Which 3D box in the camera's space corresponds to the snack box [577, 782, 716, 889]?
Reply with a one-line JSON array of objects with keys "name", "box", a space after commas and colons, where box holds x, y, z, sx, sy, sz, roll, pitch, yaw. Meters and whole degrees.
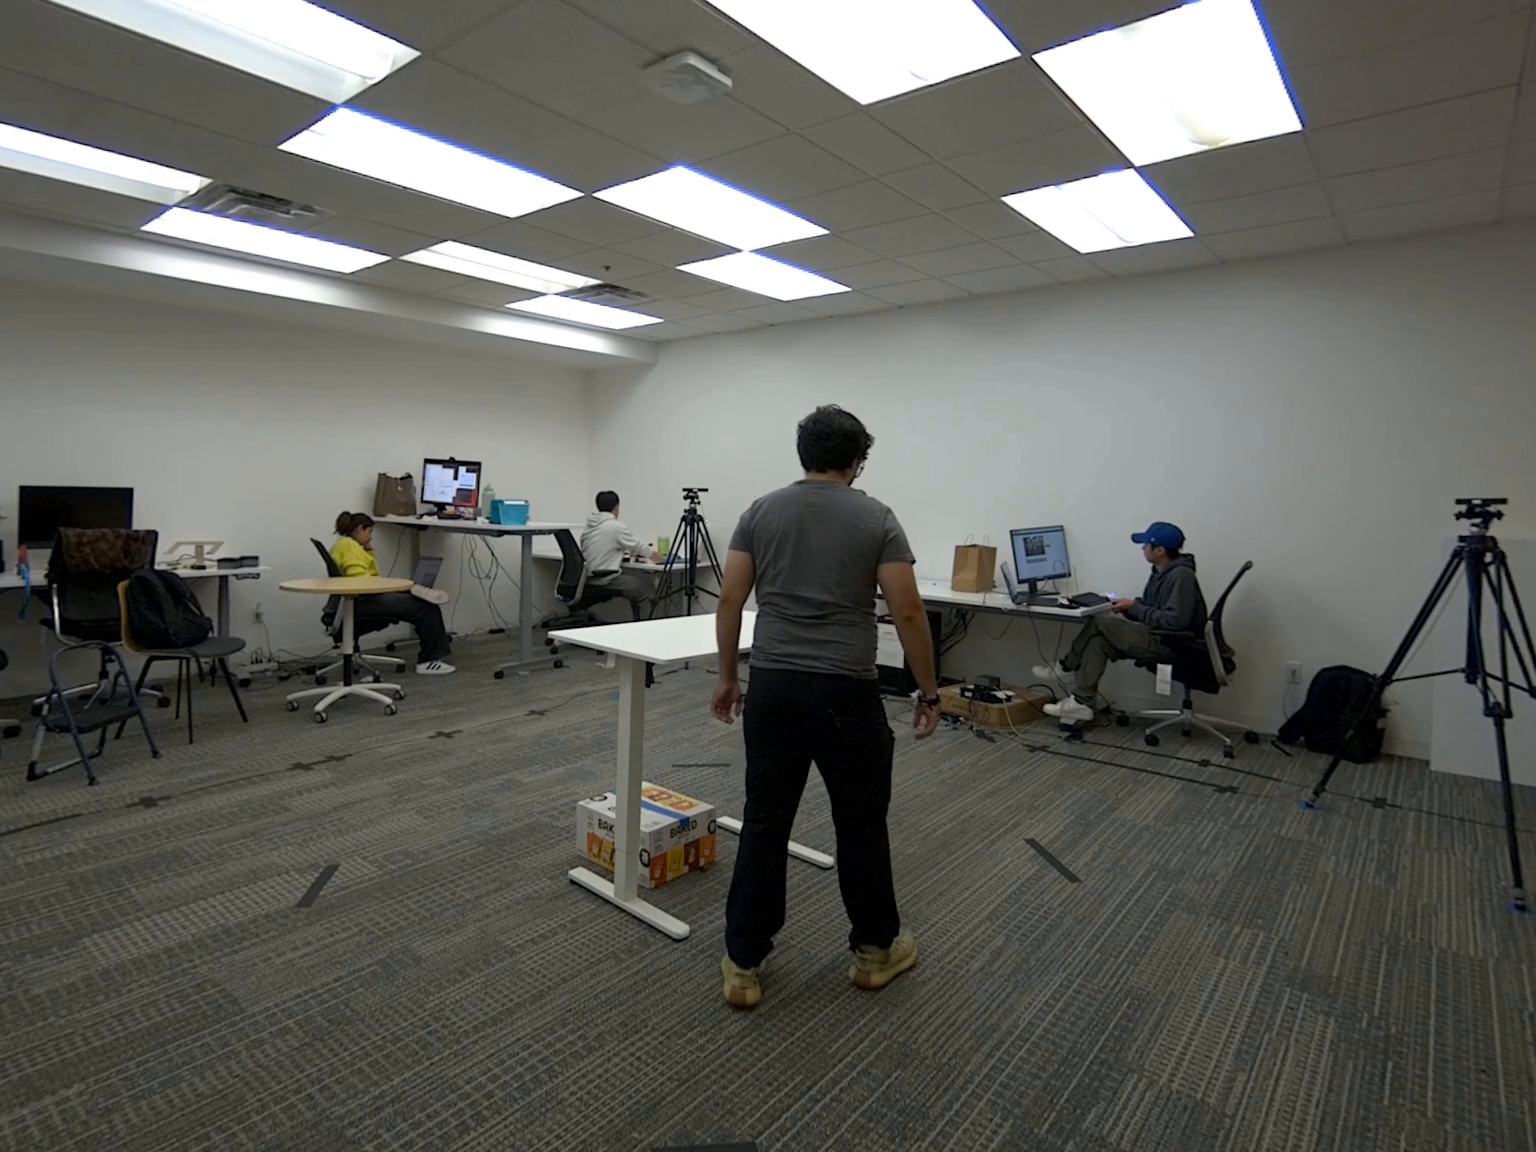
[{"name": "snack box", "box": [-0.469, 0.958, 3.190, 0.419, 0.205, 0.330, 5, 6, 41]}]
